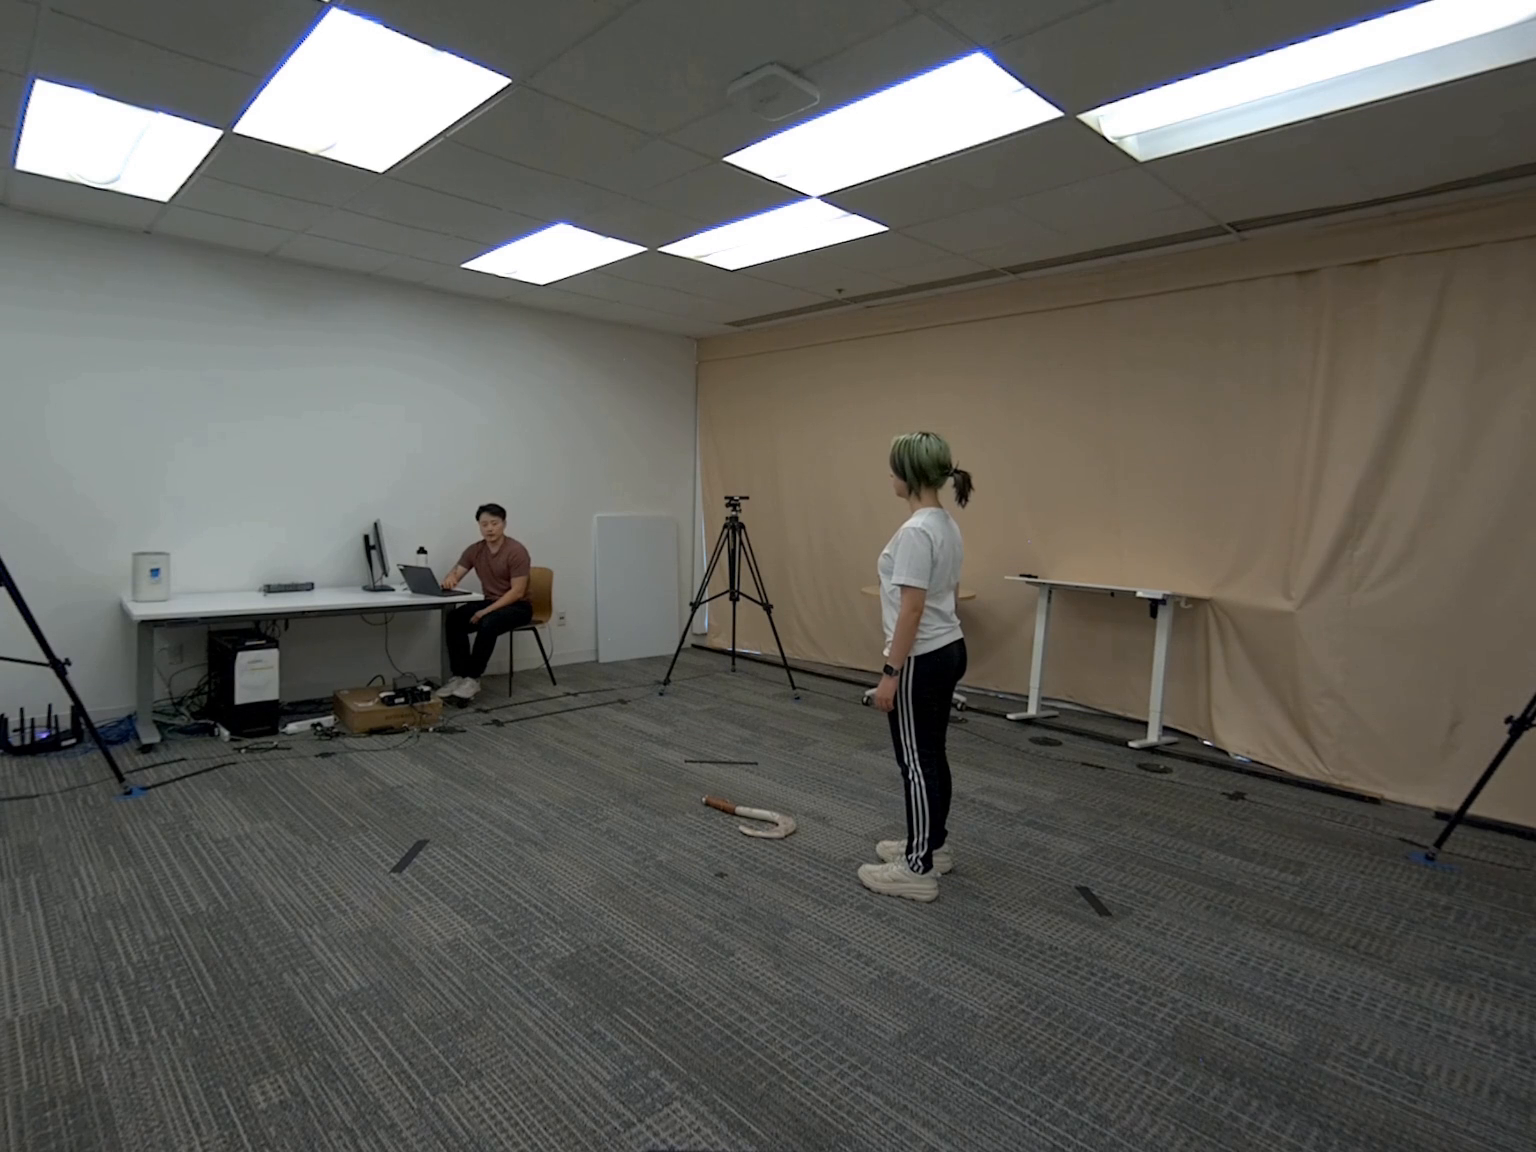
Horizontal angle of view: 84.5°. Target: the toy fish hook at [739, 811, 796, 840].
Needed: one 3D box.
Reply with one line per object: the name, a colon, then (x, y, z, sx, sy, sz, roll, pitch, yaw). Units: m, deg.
toy fish hook: (-0.124, 1.037, 3.629, 0.519, 0.048, 0.219, 5, 4, 37)
